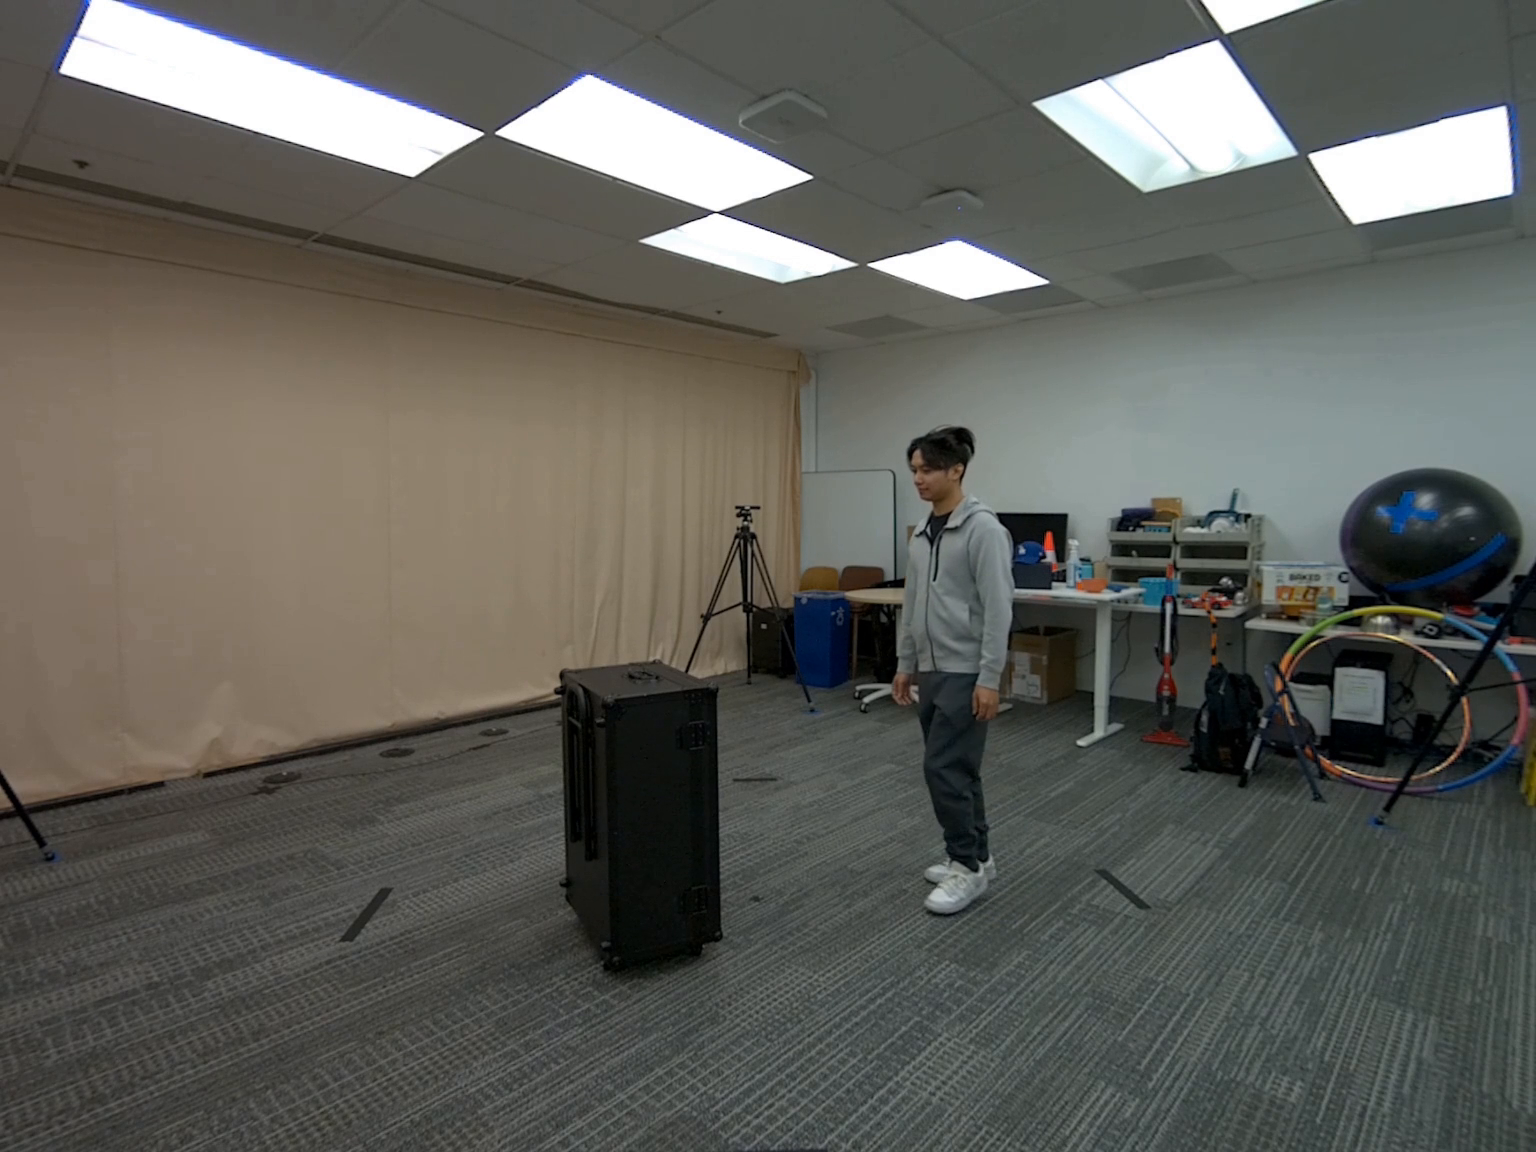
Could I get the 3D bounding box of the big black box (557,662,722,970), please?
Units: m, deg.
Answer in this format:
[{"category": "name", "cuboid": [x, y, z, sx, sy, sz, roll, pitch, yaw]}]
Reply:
[{"category": "big black box", "cuboid": [-0.418, 0.748, 2.669, 0.386, 0.859, 0.536, -3, 4, -28]}]
